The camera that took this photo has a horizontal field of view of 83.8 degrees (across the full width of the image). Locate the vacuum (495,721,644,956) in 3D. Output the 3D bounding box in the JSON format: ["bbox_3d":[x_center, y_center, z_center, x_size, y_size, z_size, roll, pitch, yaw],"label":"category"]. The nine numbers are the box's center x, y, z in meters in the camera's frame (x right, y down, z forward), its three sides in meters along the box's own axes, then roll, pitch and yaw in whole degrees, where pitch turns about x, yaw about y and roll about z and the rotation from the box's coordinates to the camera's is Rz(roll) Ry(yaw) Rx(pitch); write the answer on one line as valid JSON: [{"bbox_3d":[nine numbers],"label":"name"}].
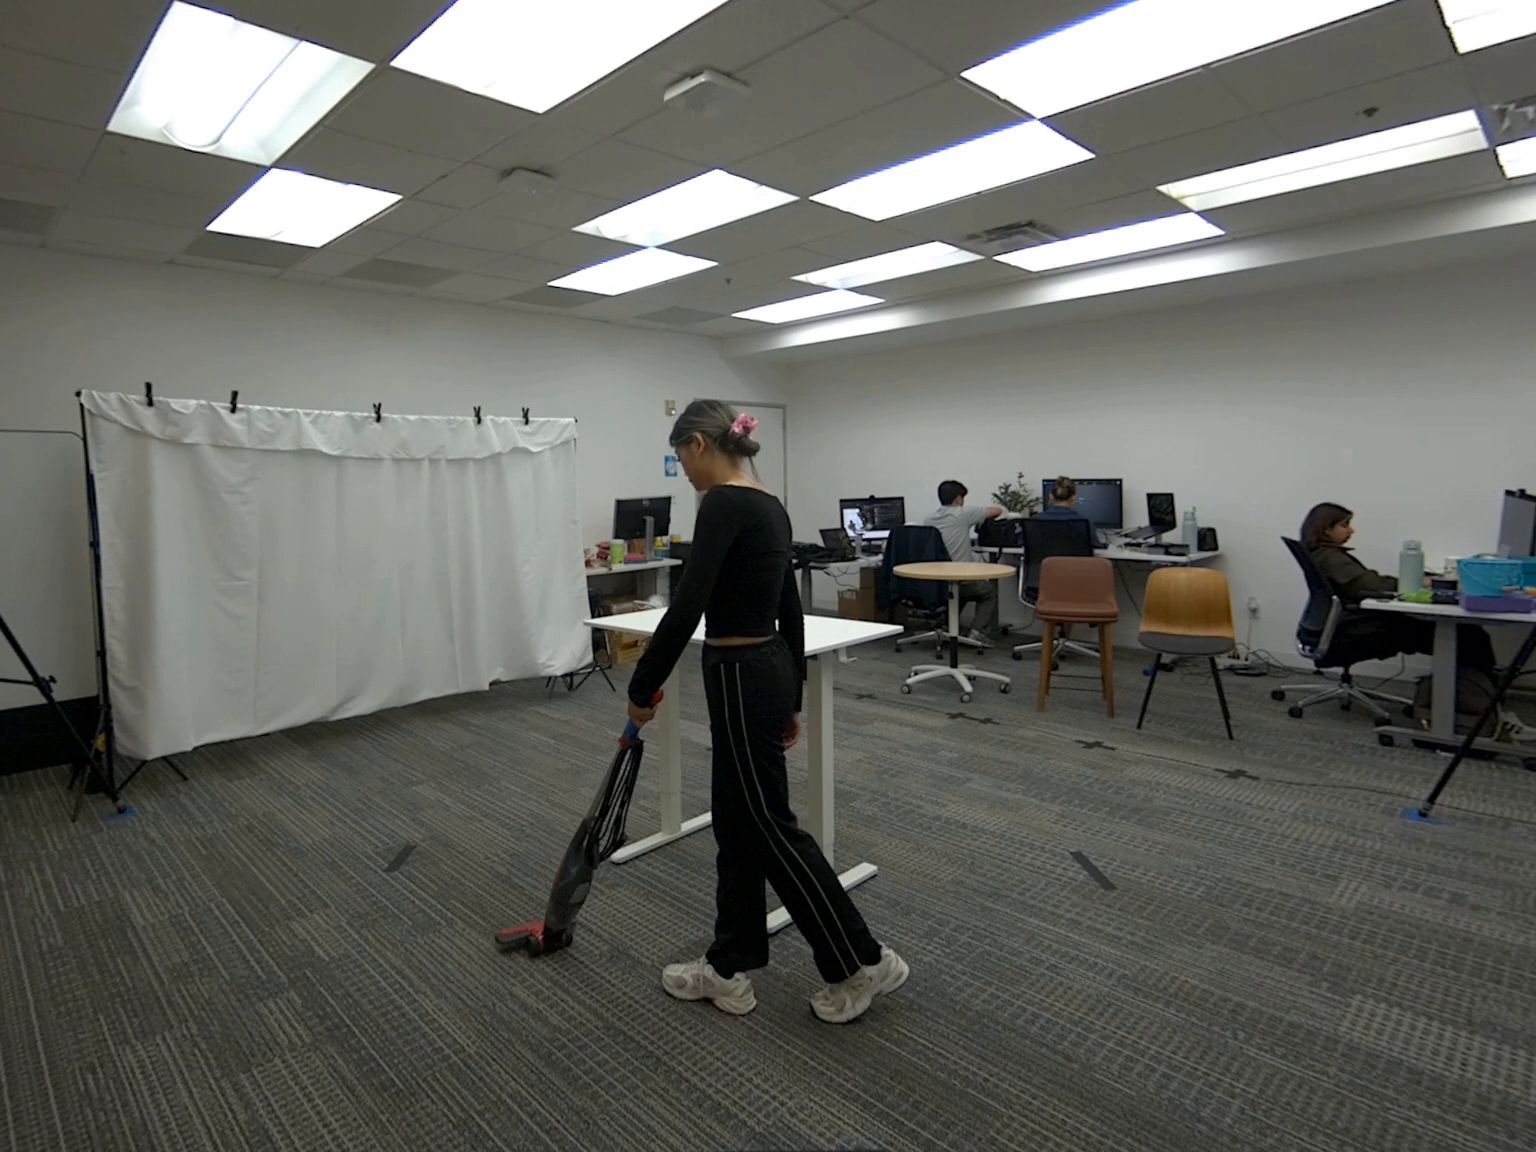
[{"bbox_3d":[-0.487,0.712,2.341,0.246,1.037,0.149,-9,45,-44],"label":"vacuum"}]
